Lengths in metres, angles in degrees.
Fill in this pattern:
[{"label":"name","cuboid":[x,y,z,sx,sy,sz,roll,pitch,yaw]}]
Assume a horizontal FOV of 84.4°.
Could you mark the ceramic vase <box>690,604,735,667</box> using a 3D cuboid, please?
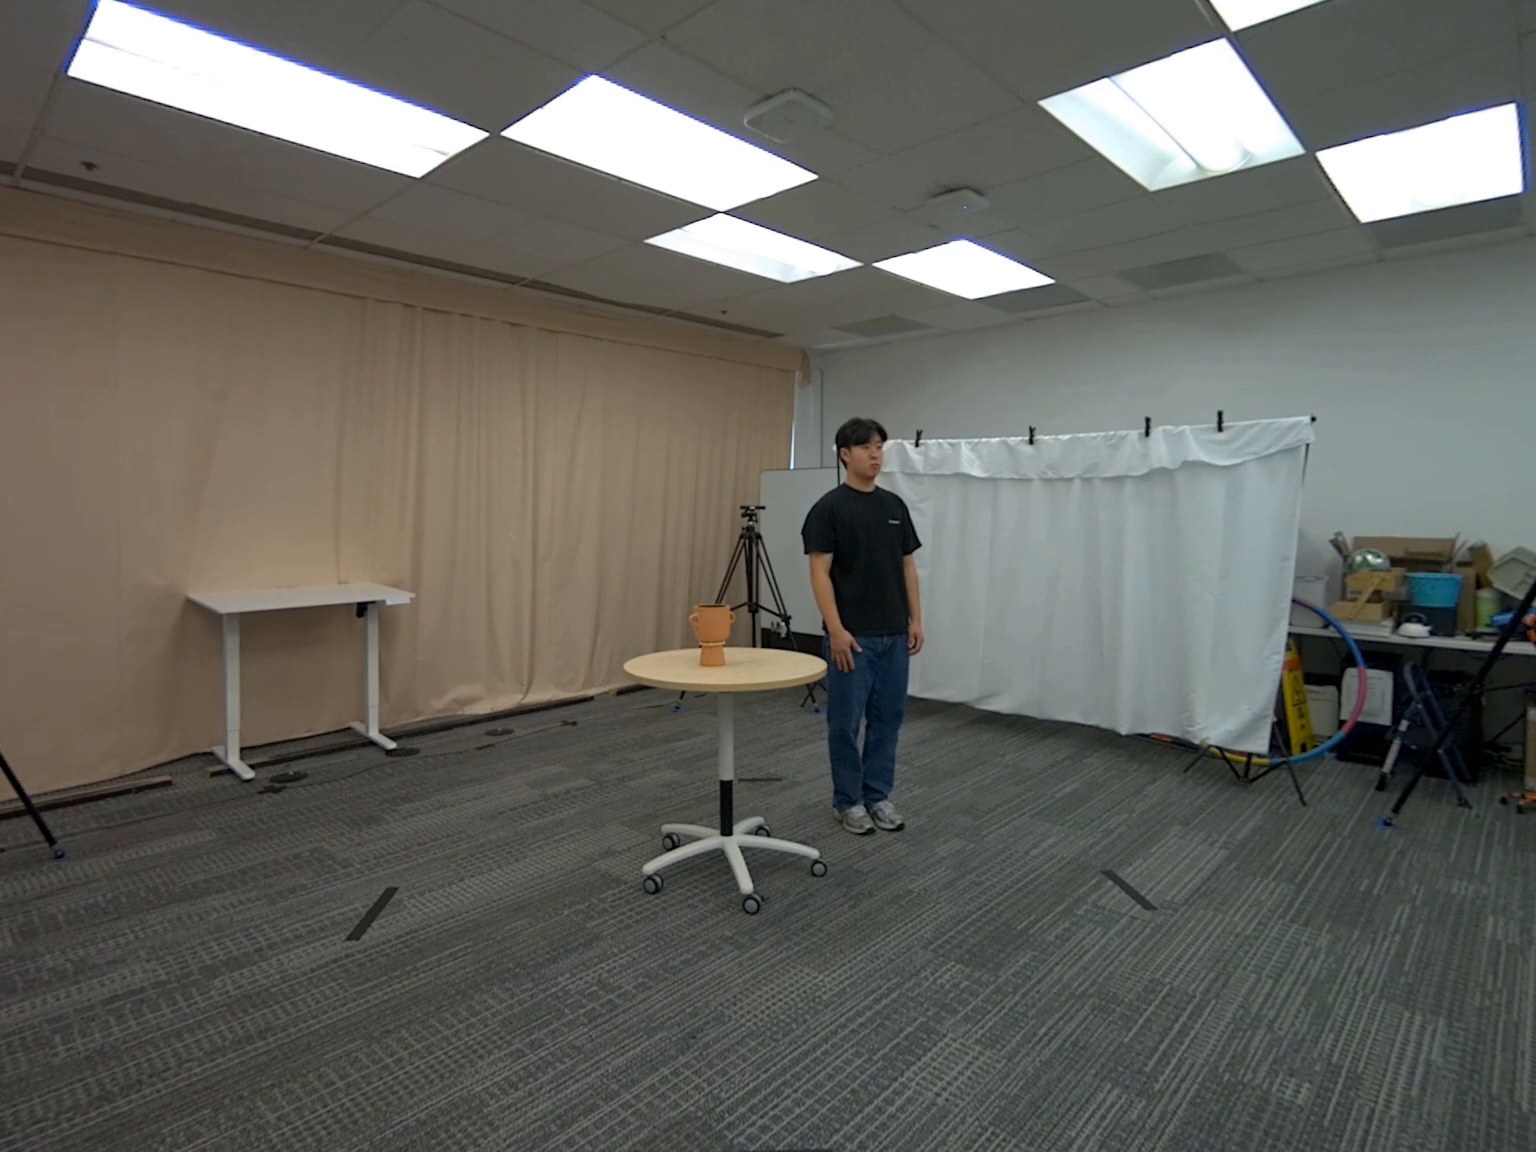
[{"label":"ceramic vase","cuboid":[-0.209,0.225,3.162,0.160,0.219,0.134,0,3,8]}]
